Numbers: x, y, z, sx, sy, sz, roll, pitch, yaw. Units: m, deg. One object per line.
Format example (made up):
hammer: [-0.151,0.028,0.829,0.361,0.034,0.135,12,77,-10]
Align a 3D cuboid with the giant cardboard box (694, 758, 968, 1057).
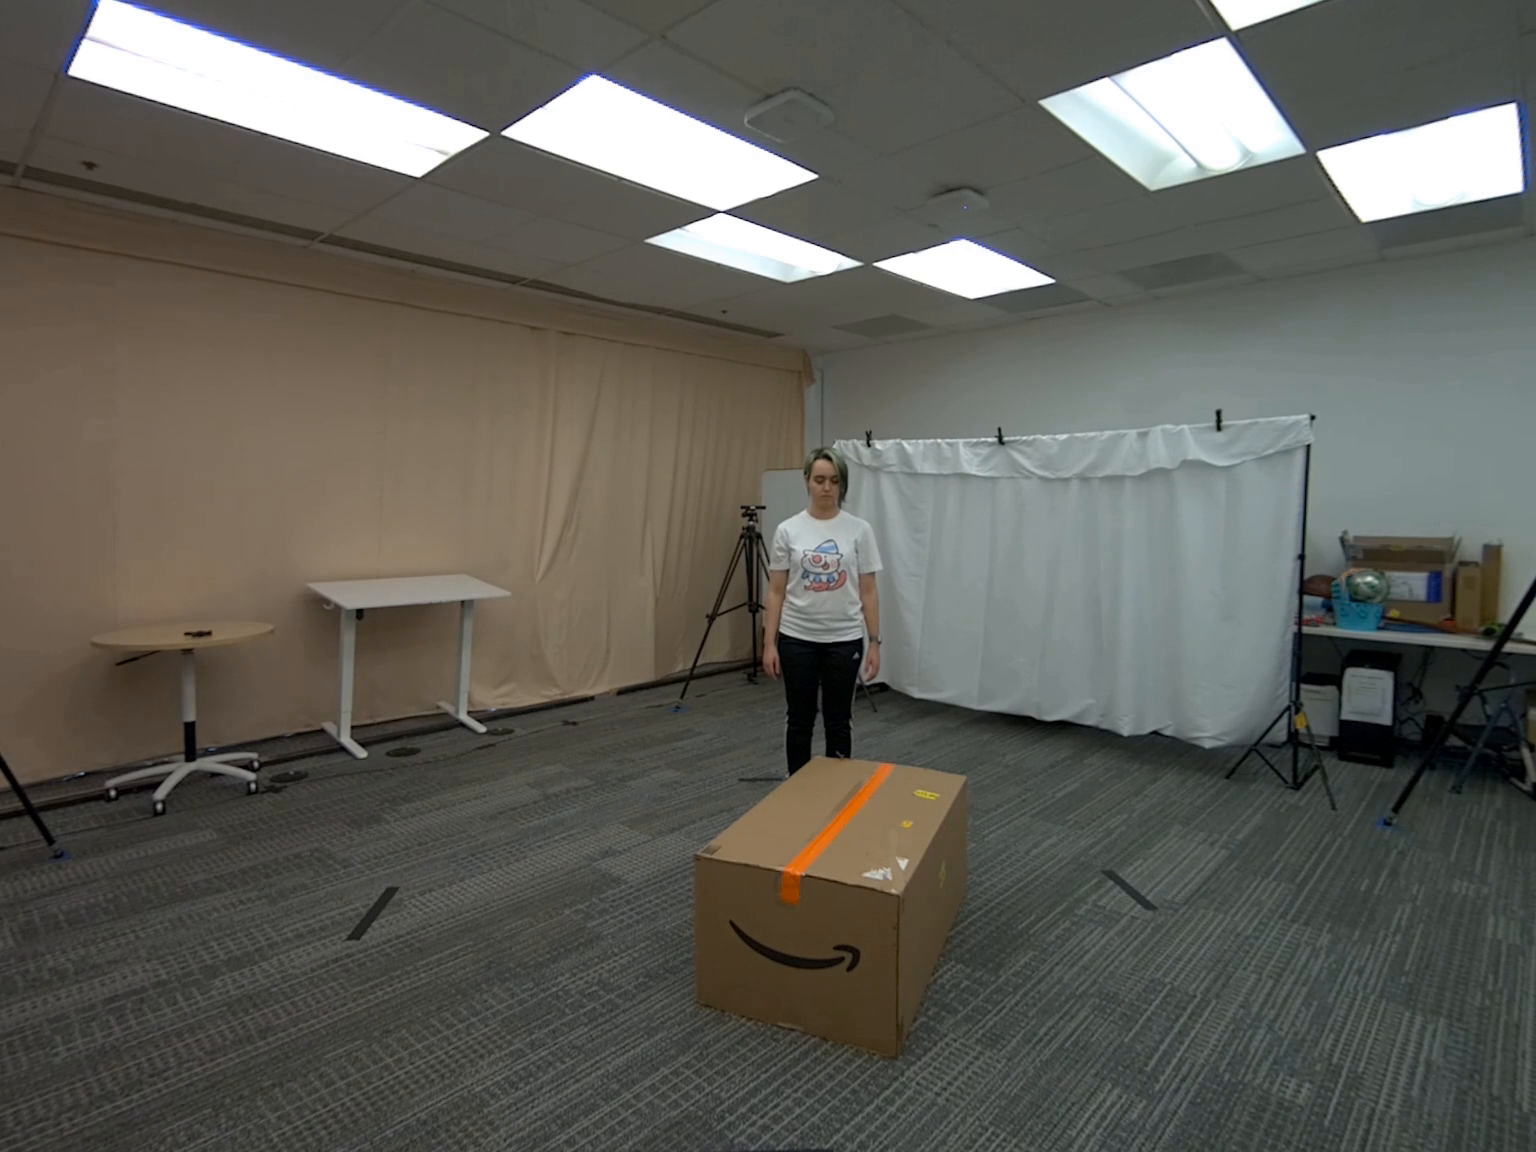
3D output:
giant cardboard box: [0.256,0.951,2.684,0.592,0.425,1.003,2,5,23]
